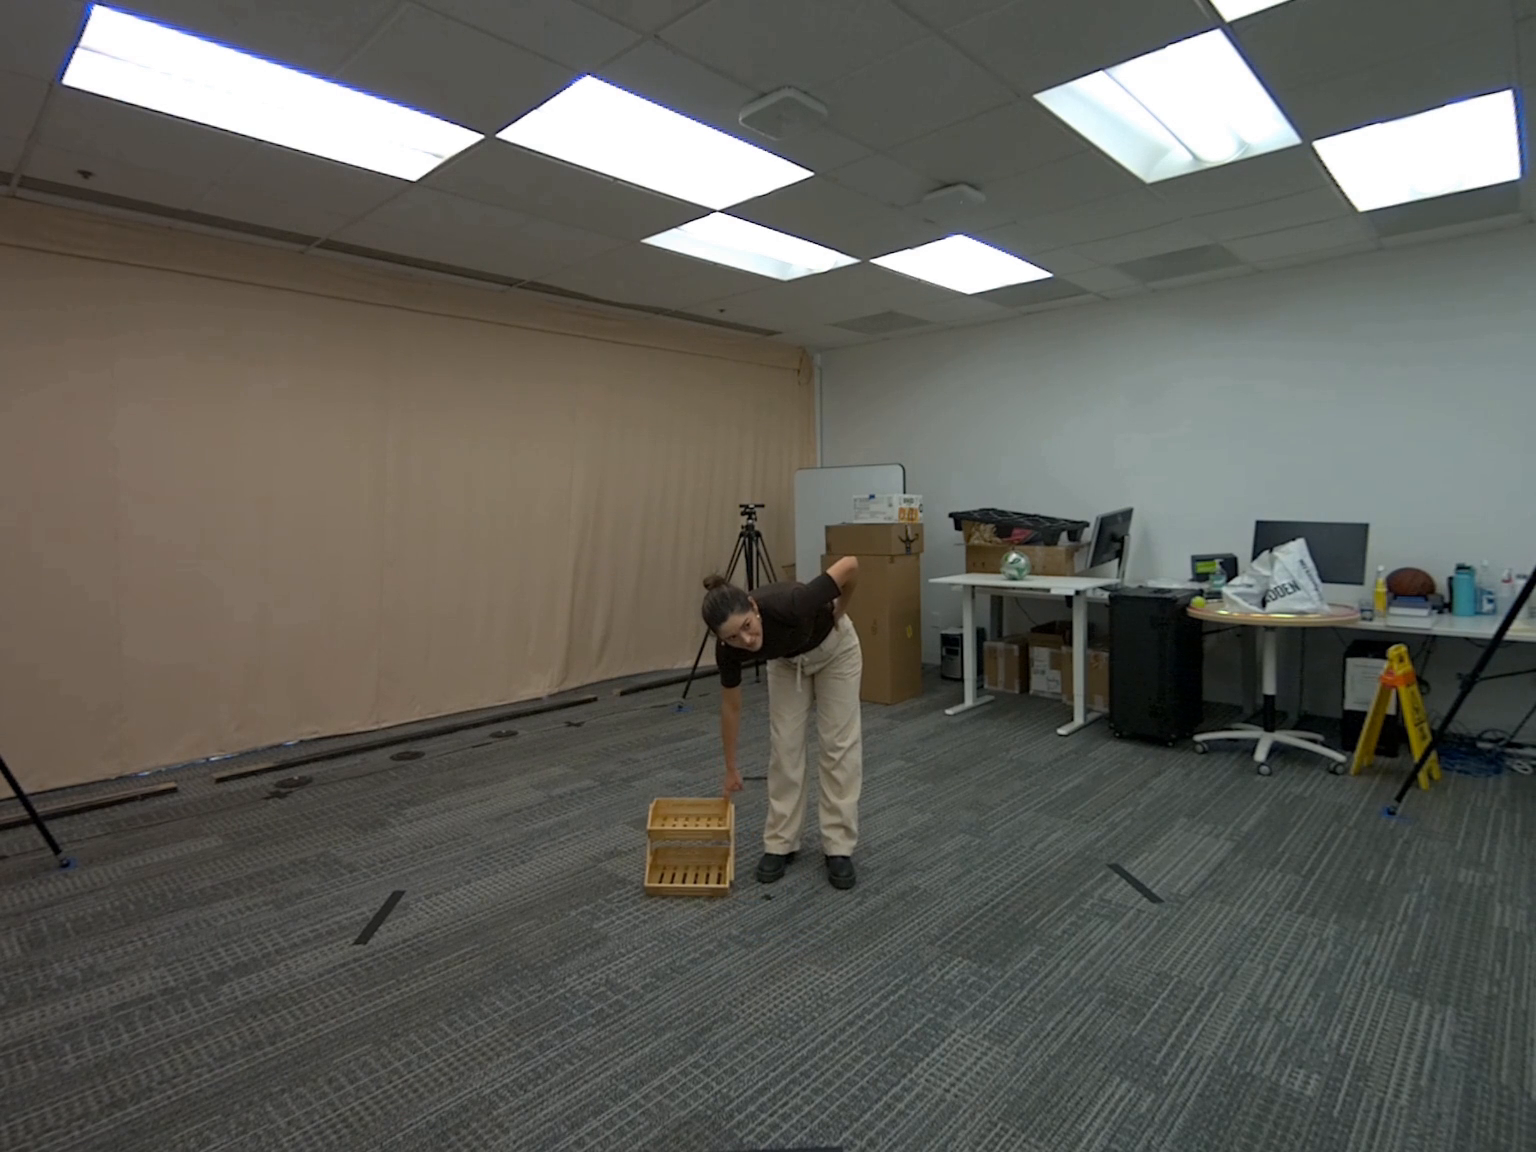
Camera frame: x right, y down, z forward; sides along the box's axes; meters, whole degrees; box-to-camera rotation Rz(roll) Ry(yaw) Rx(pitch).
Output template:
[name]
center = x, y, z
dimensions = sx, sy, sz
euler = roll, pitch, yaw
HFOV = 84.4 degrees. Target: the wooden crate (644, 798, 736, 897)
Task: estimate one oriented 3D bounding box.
[wooden crate]
center = -0.286, 1.003, 3.110
dimensions = 0.325, 0.272, 0.302
euler = -1, 4, 2
